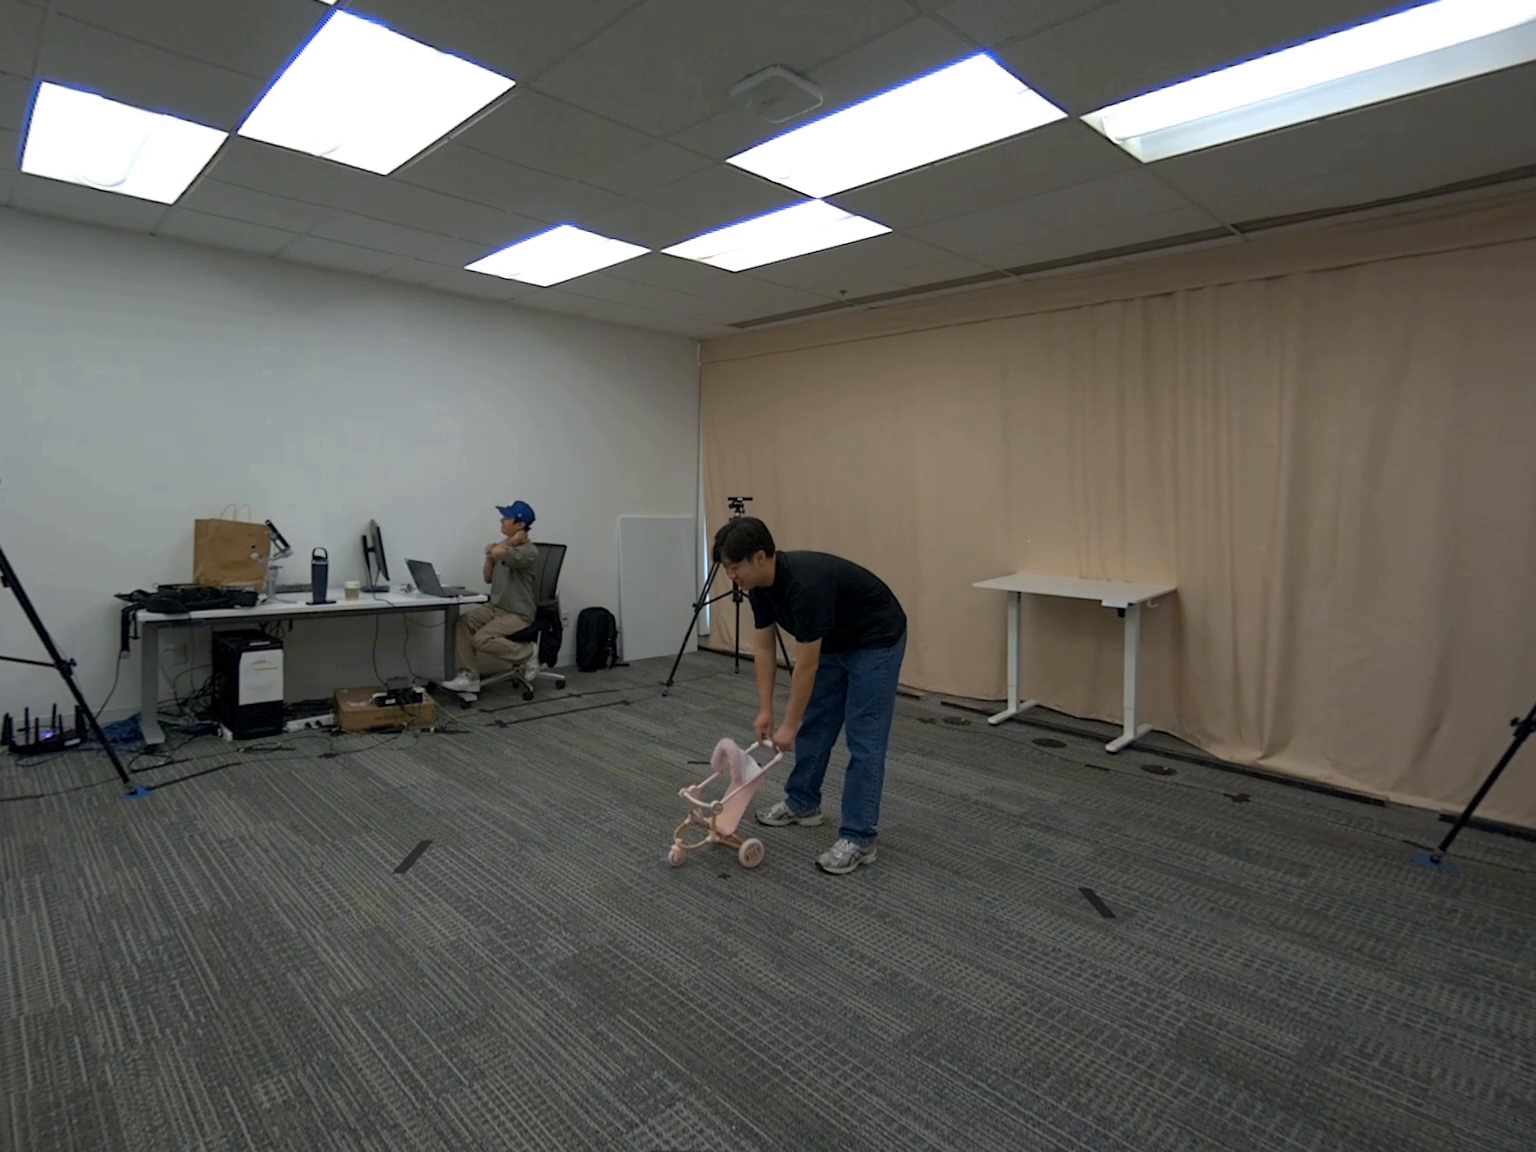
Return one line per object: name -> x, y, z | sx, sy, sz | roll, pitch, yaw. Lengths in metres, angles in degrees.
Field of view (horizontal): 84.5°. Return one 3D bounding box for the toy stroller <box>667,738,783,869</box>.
toy stroller -> -0.184, 0.871, 3.253 | 0.334, 0.536, 0.287 | 19, -5, -25
